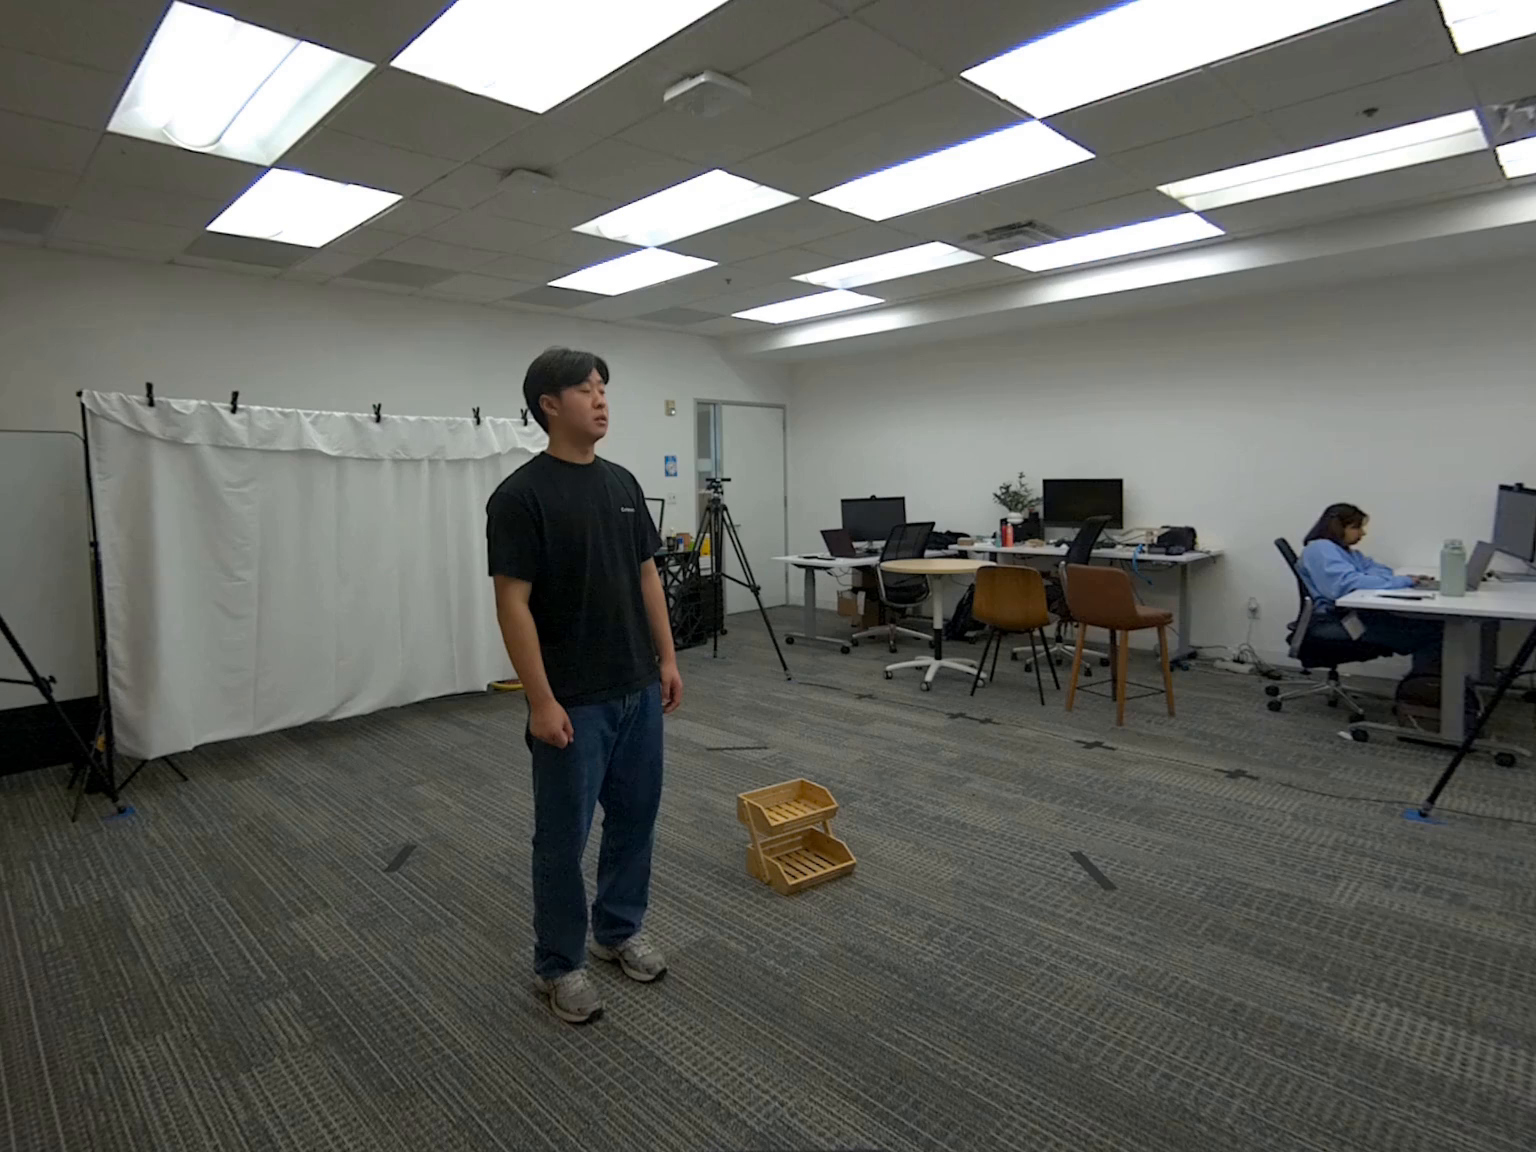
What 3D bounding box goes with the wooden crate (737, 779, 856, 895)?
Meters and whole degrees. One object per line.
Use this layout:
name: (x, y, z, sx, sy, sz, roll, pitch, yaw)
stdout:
wooden crate: (0.104, 0.912, 3.035, 0.316, 0.272, 0.311, -5, 5, -35)
